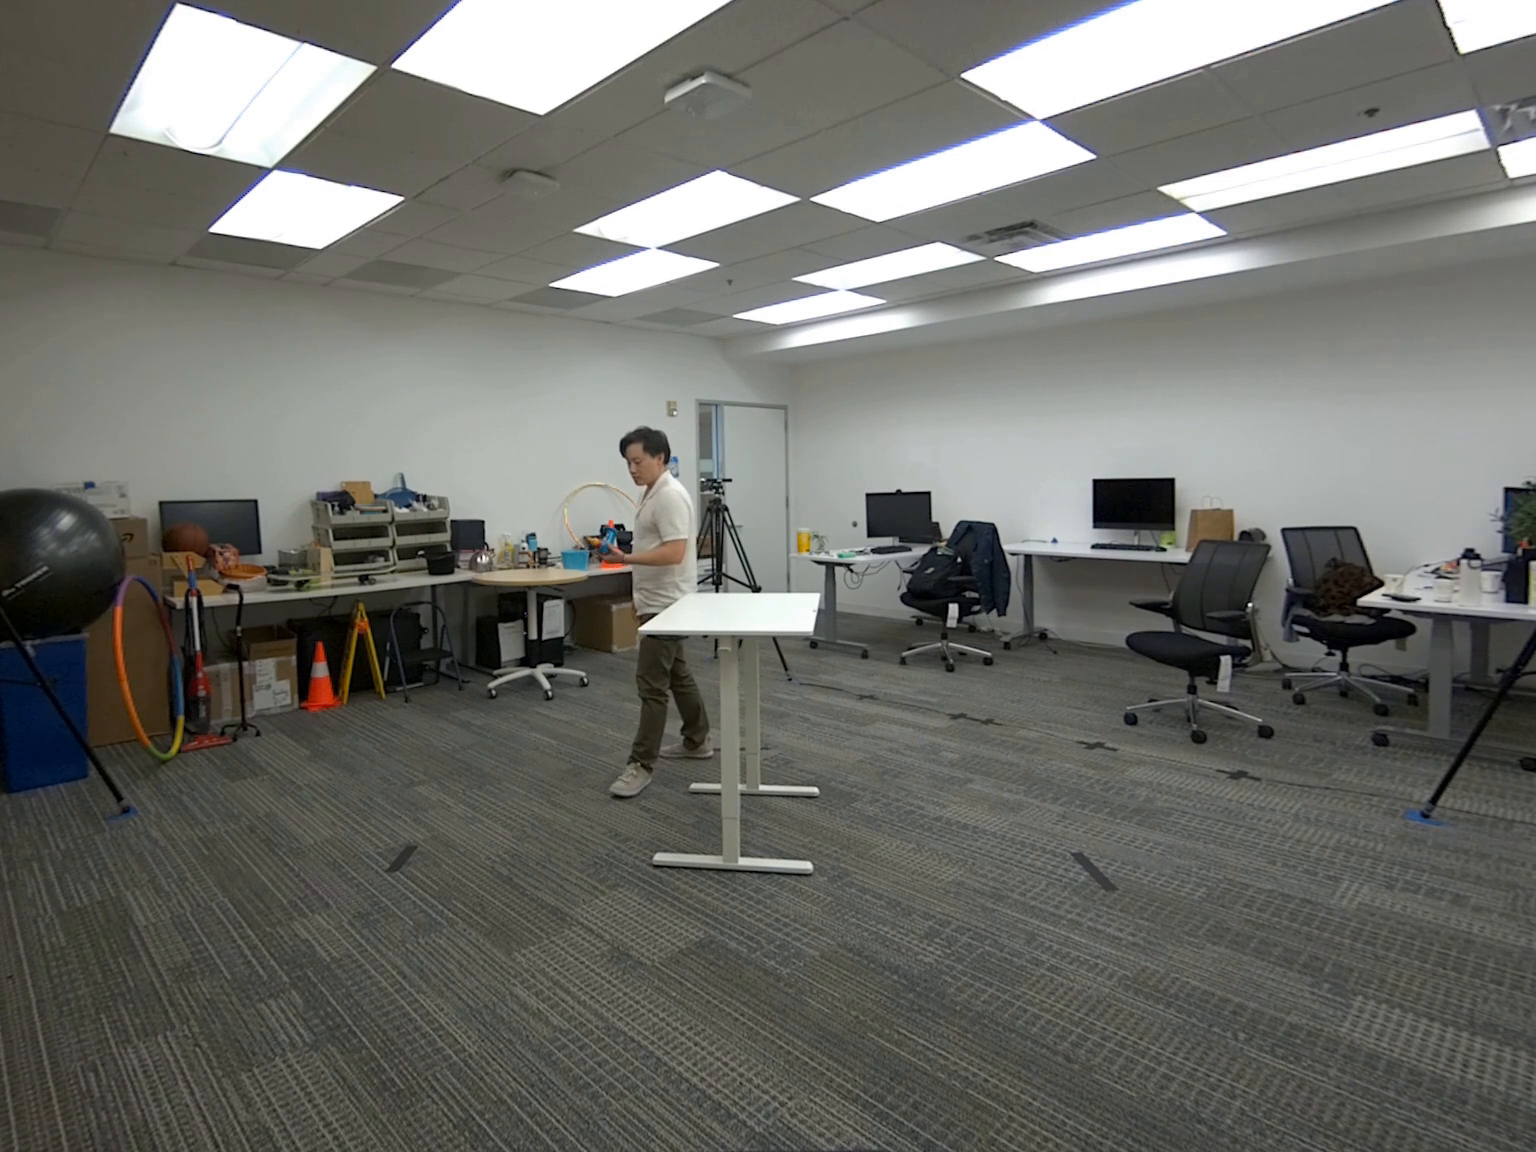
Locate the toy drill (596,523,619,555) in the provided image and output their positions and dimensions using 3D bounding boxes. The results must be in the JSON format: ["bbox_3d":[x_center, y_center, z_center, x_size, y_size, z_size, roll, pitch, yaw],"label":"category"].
[{"bbox_3d":[-0.746,-0.173,3.863,0.062,0.150,0.163,-24,-41,31],"label":"toy drill"}]
